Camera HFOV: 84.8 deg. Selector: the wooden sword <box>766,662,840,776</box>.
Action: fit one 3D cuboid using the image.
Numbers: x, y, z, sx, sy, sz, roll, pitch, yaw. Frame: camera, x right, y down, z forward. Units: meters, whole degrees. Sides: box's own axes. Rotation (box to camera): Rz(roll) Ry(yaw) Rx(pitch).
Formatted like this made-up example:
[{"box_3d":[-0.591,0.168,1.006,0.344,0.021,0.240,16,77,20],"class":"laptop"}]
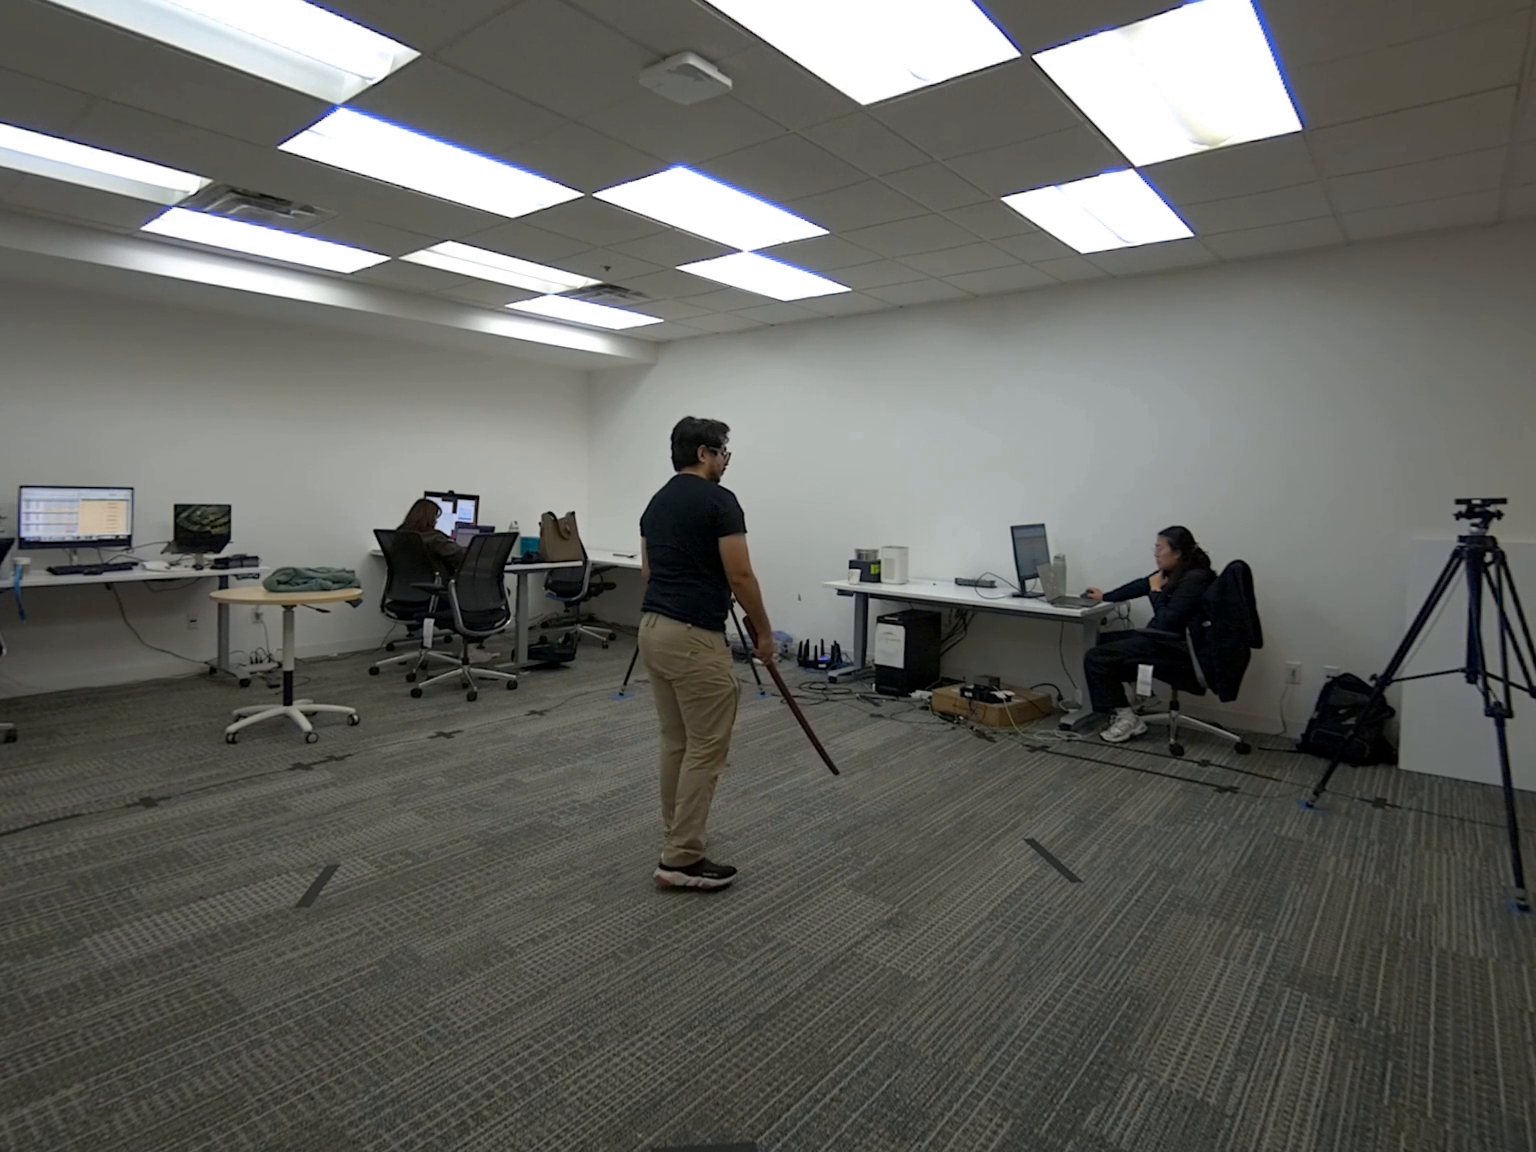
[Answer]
[{"box_3d":[0.087,0.534,3.357,0.052,0.985,0.024,-14,41,22],"class":"wooden sword"}]
